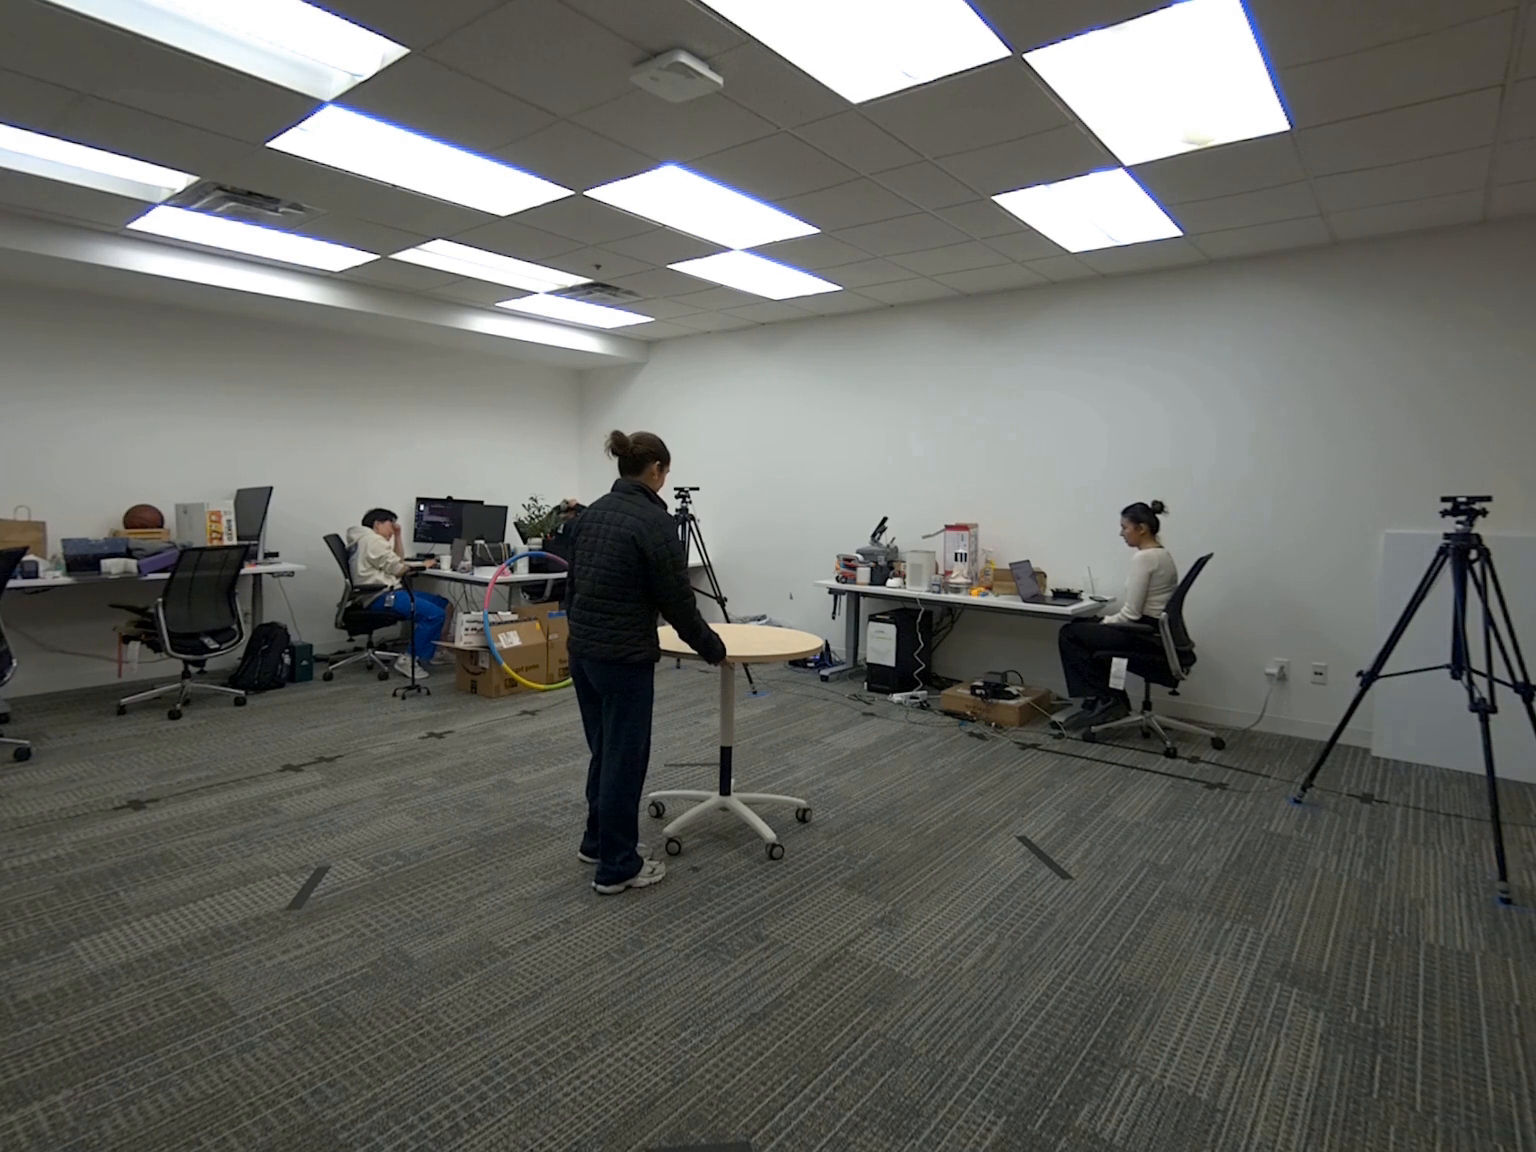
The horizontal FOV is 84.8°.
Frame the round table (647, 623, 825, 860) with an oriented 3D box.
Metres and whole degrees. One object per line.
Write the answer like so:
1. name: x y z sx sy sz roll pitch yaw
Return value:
1. round table: -0.160 0.635 3.471 0.784 0.784 0.788 1 3 -2
